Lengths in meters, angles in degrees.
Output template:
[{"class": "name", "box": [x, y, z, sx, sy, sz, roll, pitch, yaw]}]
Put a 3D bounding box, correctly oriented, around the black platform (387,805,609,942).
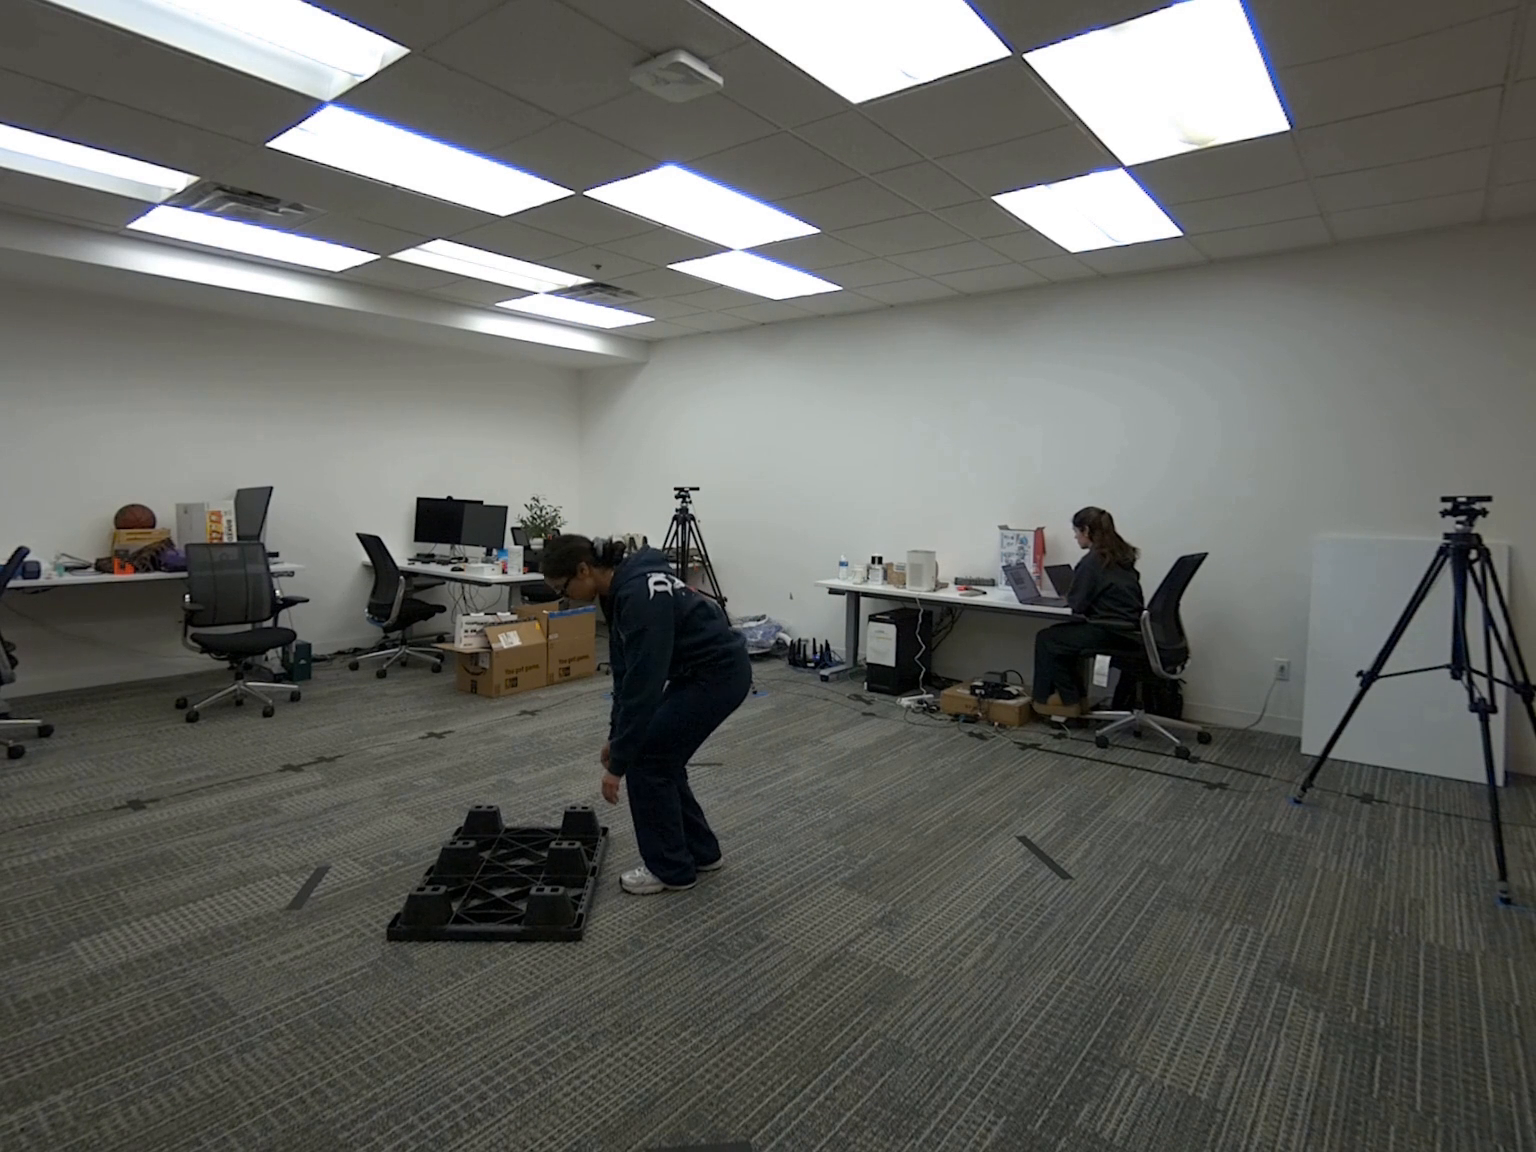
[{"class": "black platform", "box": [-0.912, 1.002, 2.983, 0.603, 0.143, 0.811, 1, 6, -4]}]
